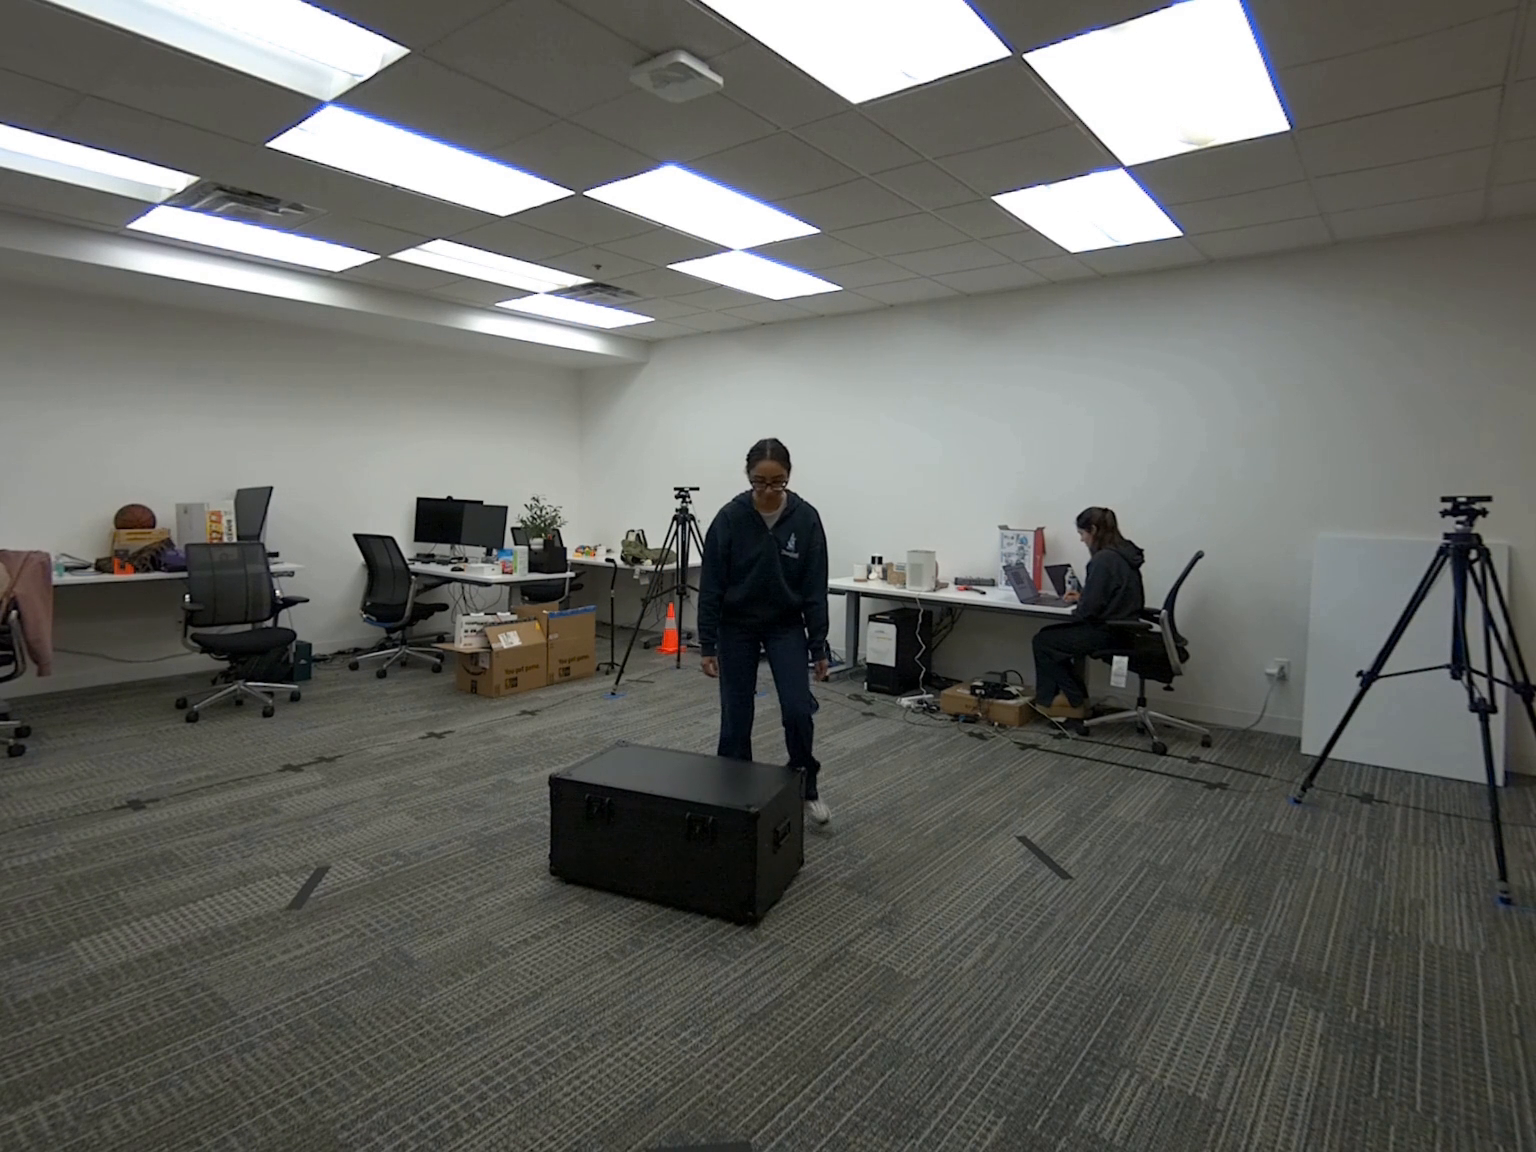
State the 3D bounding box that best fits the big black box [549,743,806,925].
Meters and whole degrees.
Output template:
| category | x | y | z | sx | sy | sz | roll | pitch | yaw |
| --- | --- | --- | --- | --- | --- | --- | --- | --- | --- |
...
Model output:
| category | x | y | z | sx | sy | sz | roll | pitch | yaw |
| --- | --- | --- | --- | --- | --- | --- | --- | --- | --- |
| big black box | -0.358 | 0.880 | 3.051 | 0.882 | 0.395 | 0.511 | 3 | 5 | 22 |
